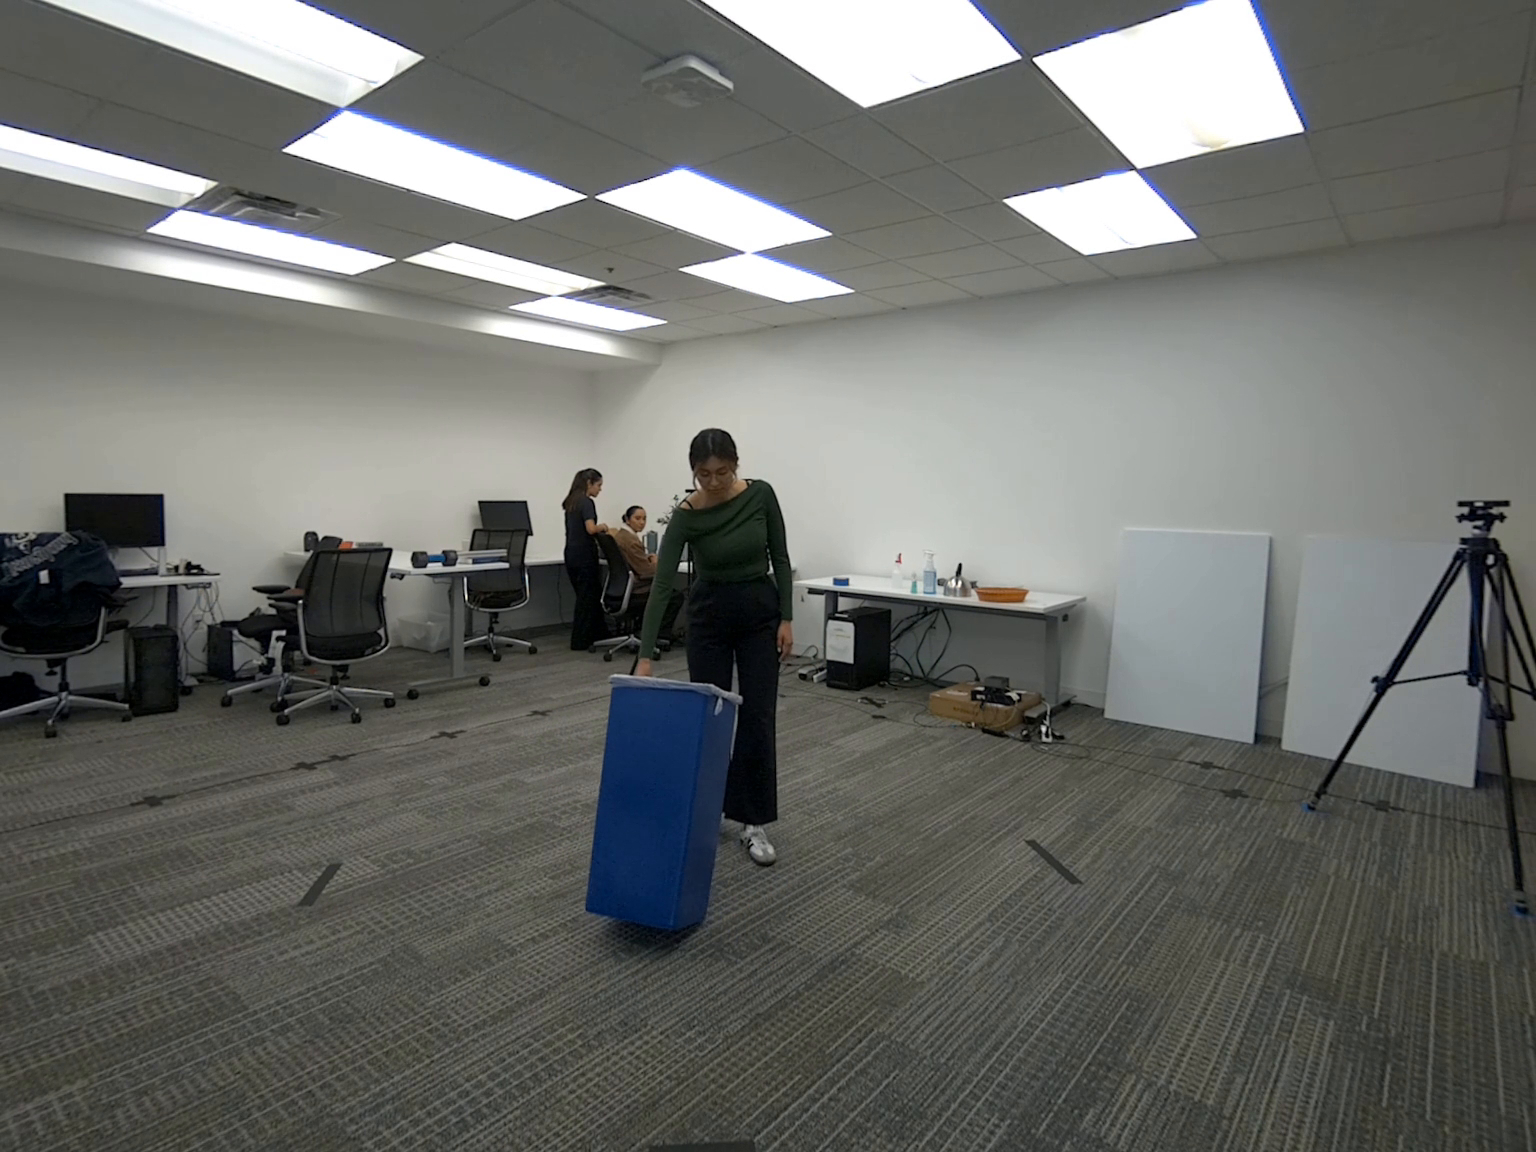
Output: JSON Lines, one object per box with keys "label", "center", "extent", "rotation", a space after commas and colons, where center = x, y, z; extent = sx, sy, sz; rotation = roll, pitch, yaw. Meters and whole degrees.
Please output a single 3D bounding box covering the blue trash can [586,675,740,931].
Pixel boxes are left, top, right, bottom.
{"label": "blue trash can", "center": [-0.348, 0.715, 2.758], "extent": [0.385, 0.723, 0.362], "rotation": [2, -17, 17]}
